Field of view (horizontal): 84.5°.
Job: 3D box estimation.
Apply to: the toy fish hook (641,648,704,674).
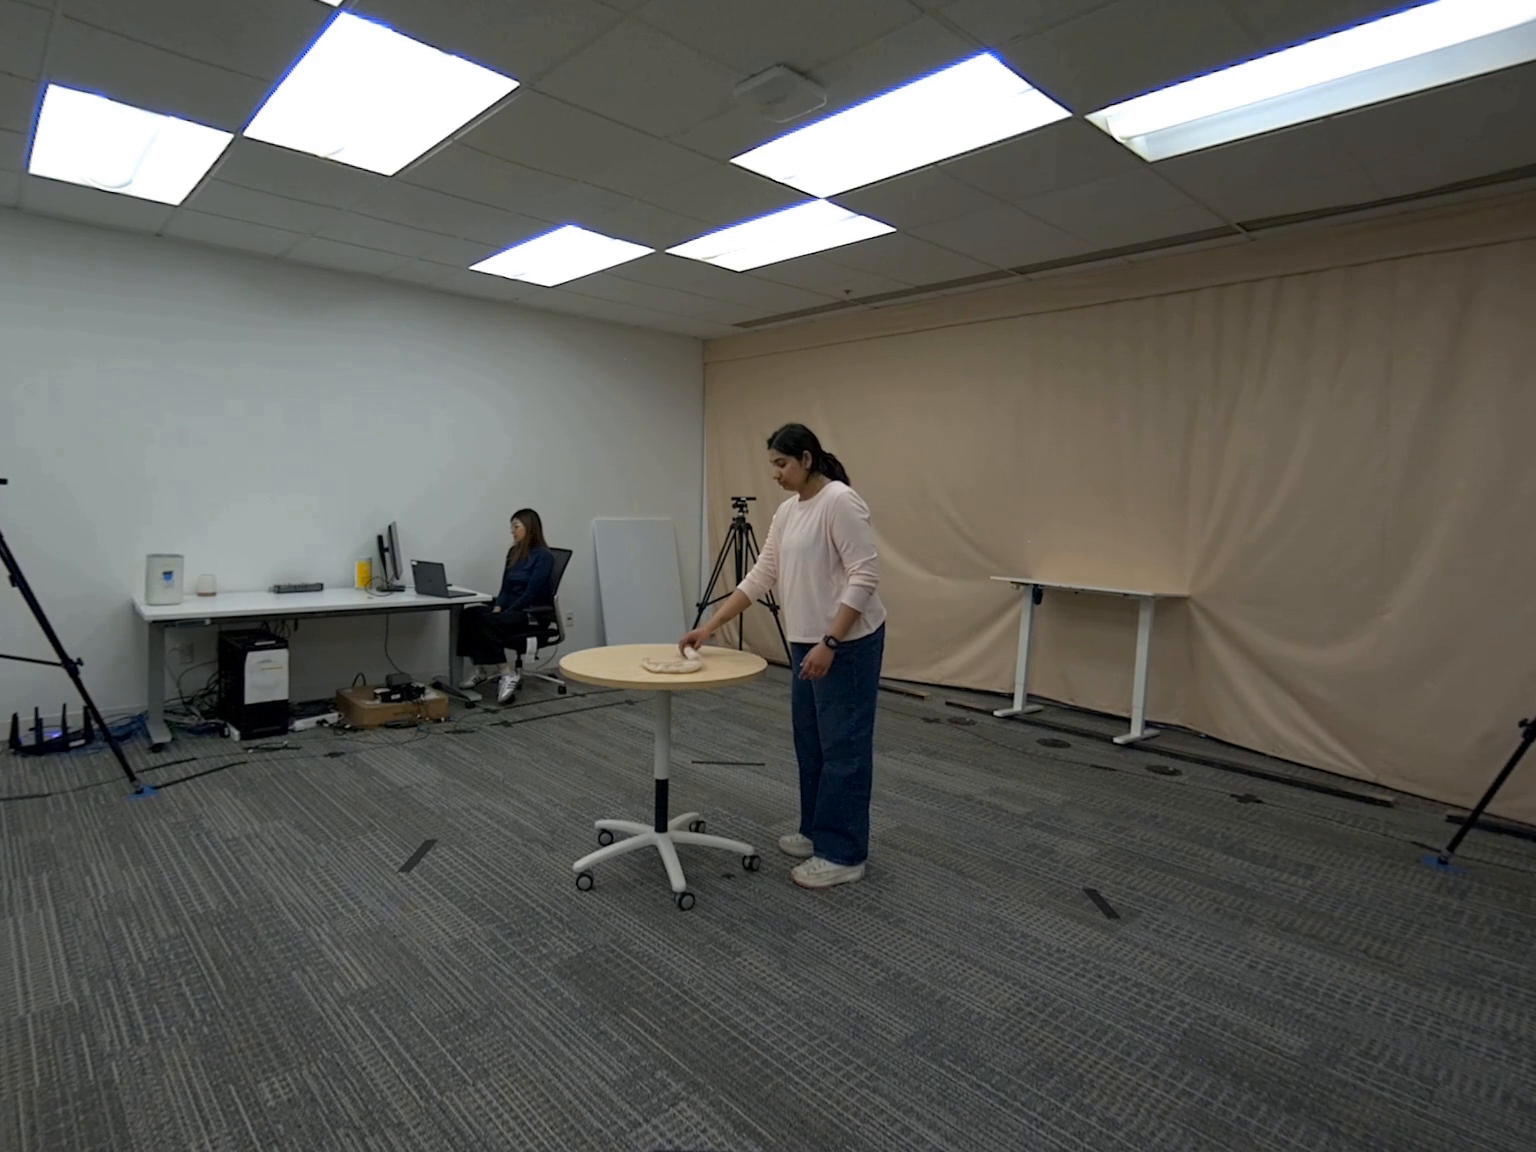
[{"bbox_3d":[-0.346,0.290,3.134,0.224,0.048,0.510,2,6,-4],"label":"toy fish hook"}]
